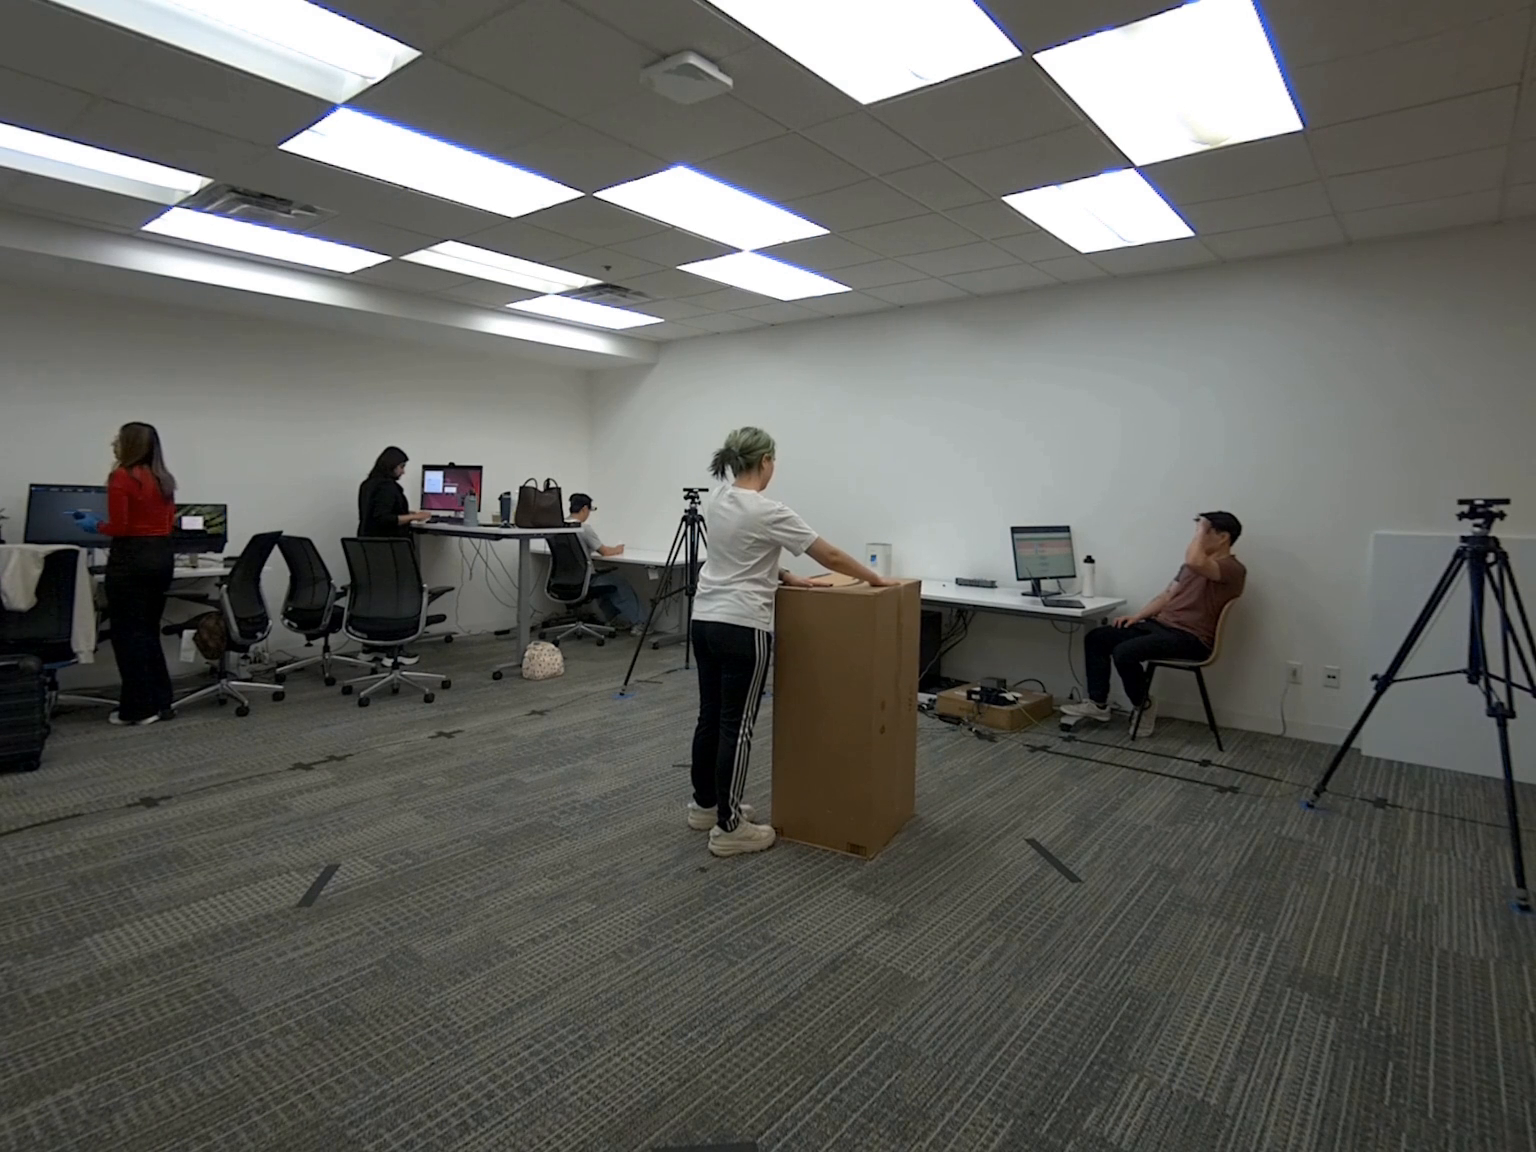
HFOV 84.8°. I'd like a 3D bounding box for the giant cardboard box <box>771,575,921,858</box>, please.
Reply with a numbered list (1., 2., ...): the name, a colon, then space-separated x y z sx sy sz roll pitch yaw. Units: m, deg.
1. giant cardboard box: 0.329 0.537 3.536 0.459 1.023 0.570 3 5 27
